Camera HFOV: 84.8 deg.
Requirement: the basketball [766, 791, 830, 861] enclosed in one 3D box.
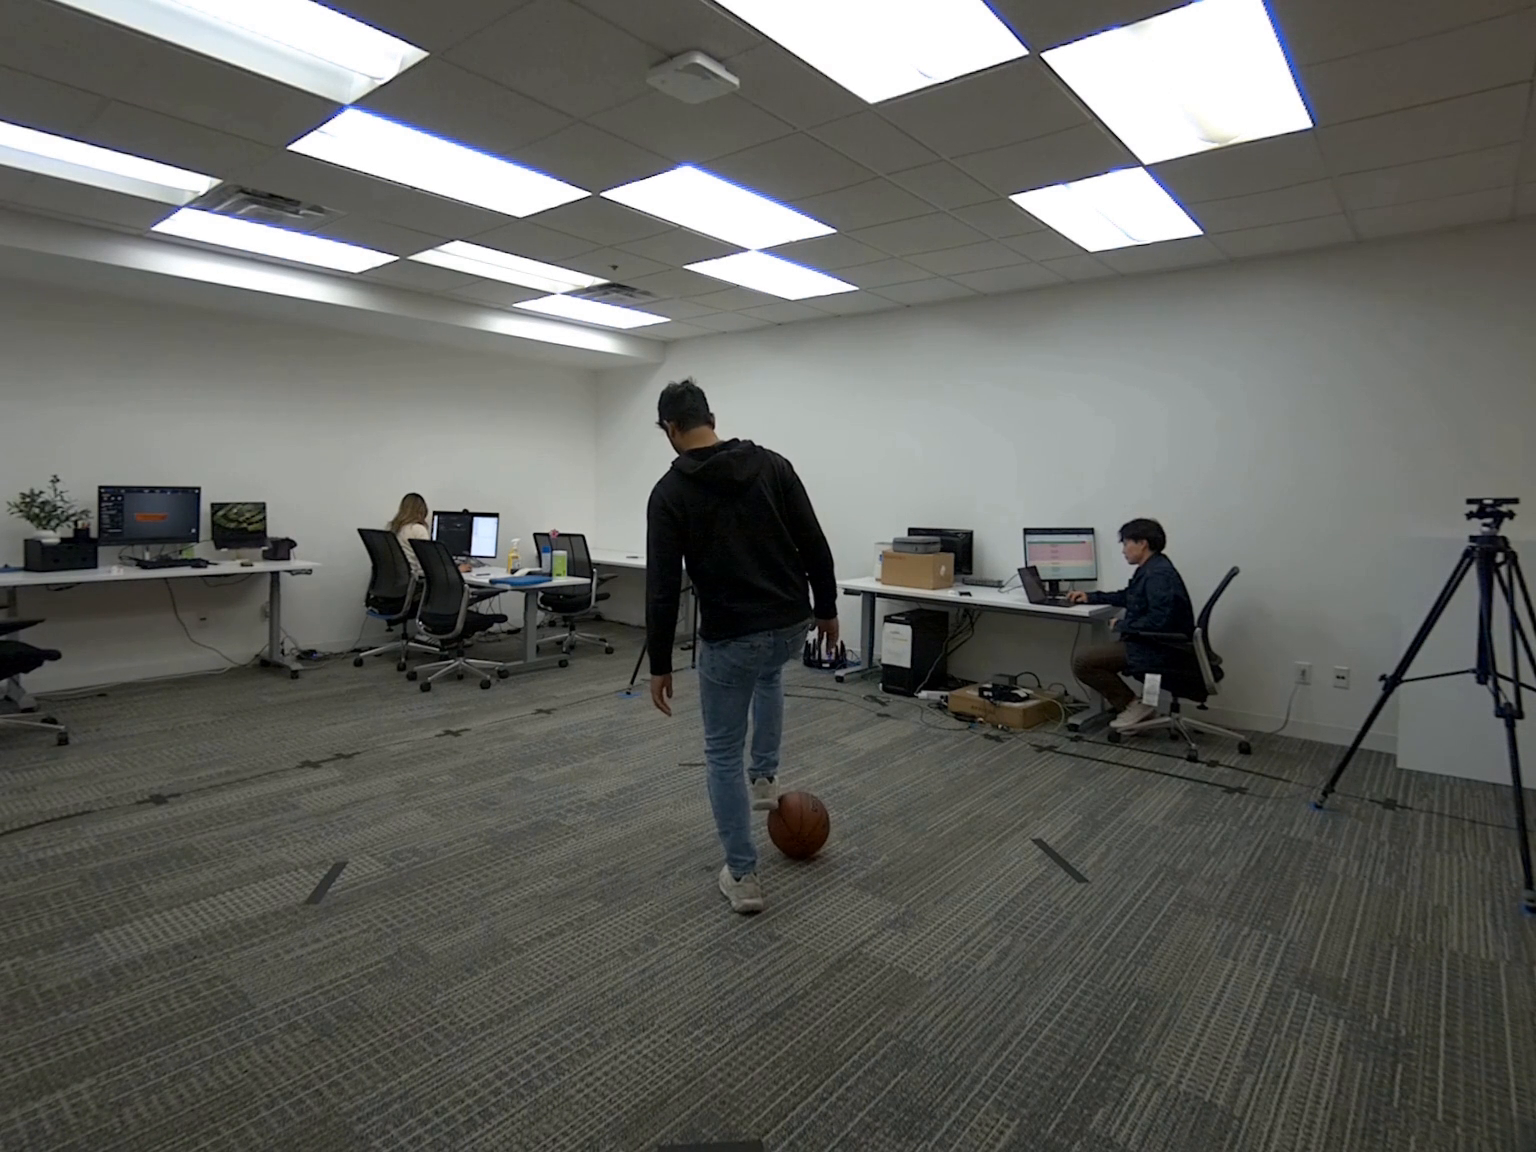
[{"bbox_3d":[0.110,0.938,3.239,0.235,0.235,0.237,1,4,-2],"label":"basketball"}]
